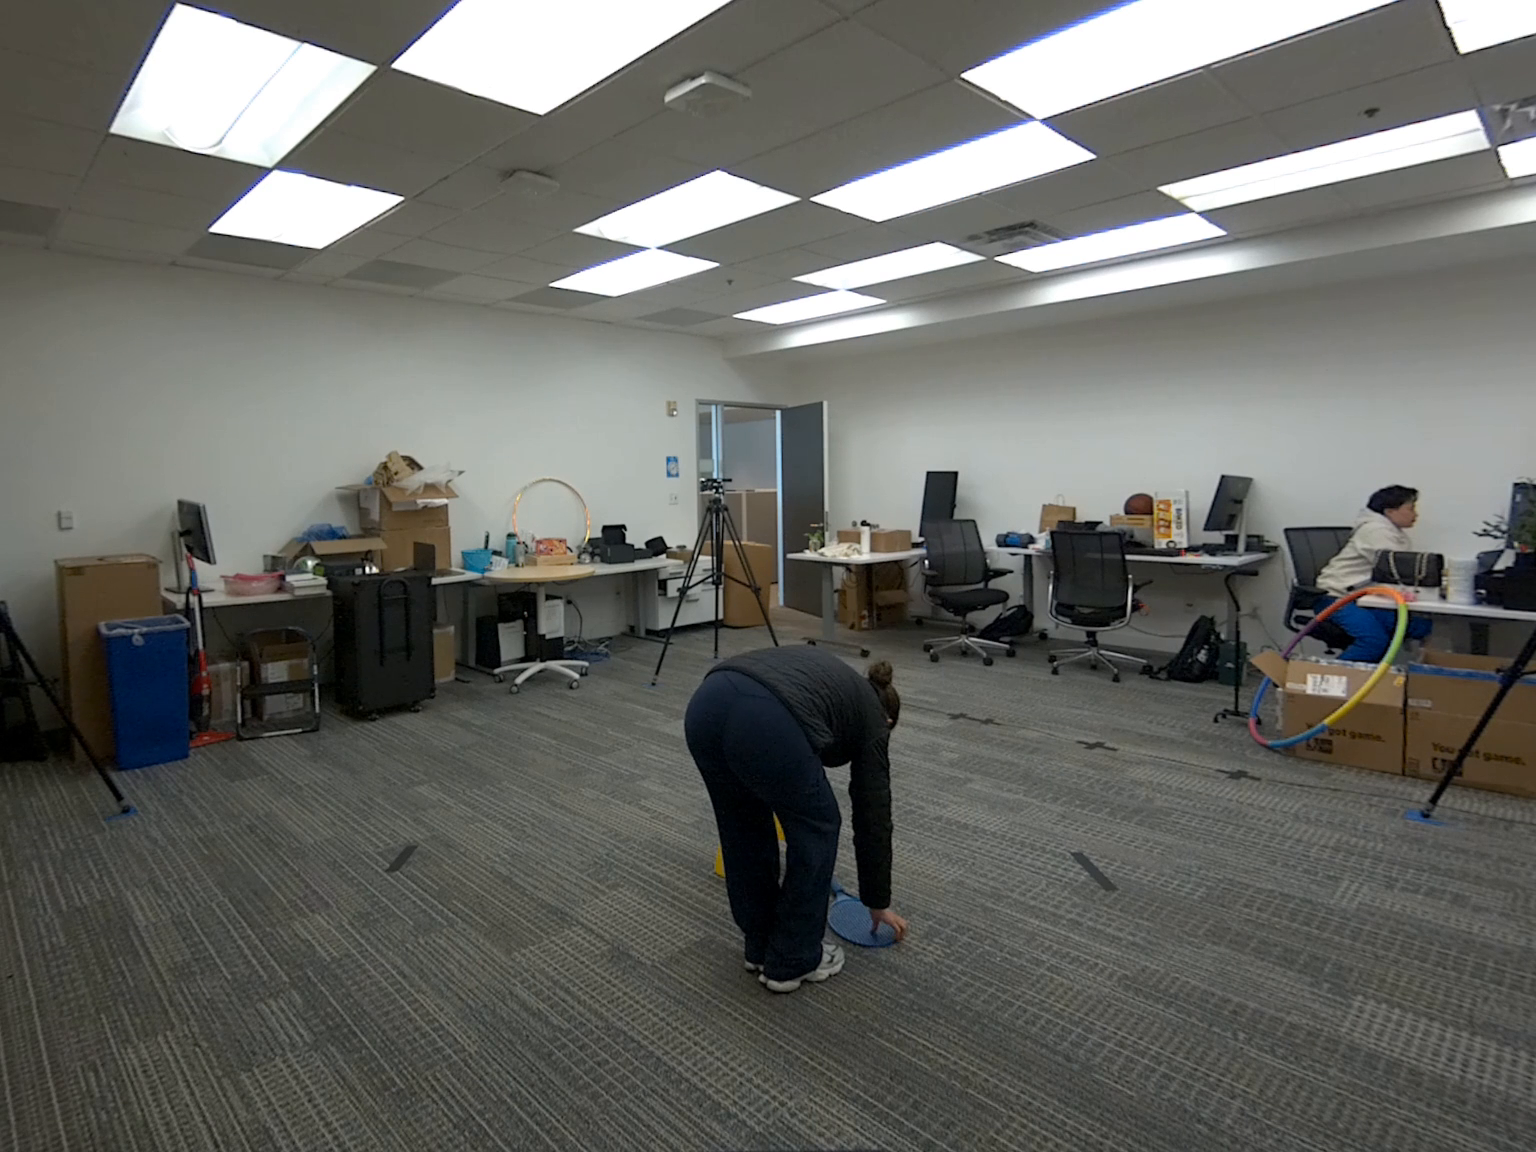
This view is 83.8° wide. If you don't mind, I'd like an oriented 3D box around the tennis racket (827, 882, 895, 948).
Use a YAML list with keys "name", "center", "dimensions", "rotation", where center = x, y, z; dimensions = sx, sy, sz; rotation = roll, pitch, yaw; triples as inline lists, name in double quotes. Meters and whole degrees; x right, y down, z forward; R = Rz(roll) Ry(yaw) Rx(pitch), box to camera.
- name: "tennis racket"
  center: [0.271, 1.066, 2.757]
  dimensions: [0.211, 0.031, 0.441]
  rotation: [-1, 8, -16]
